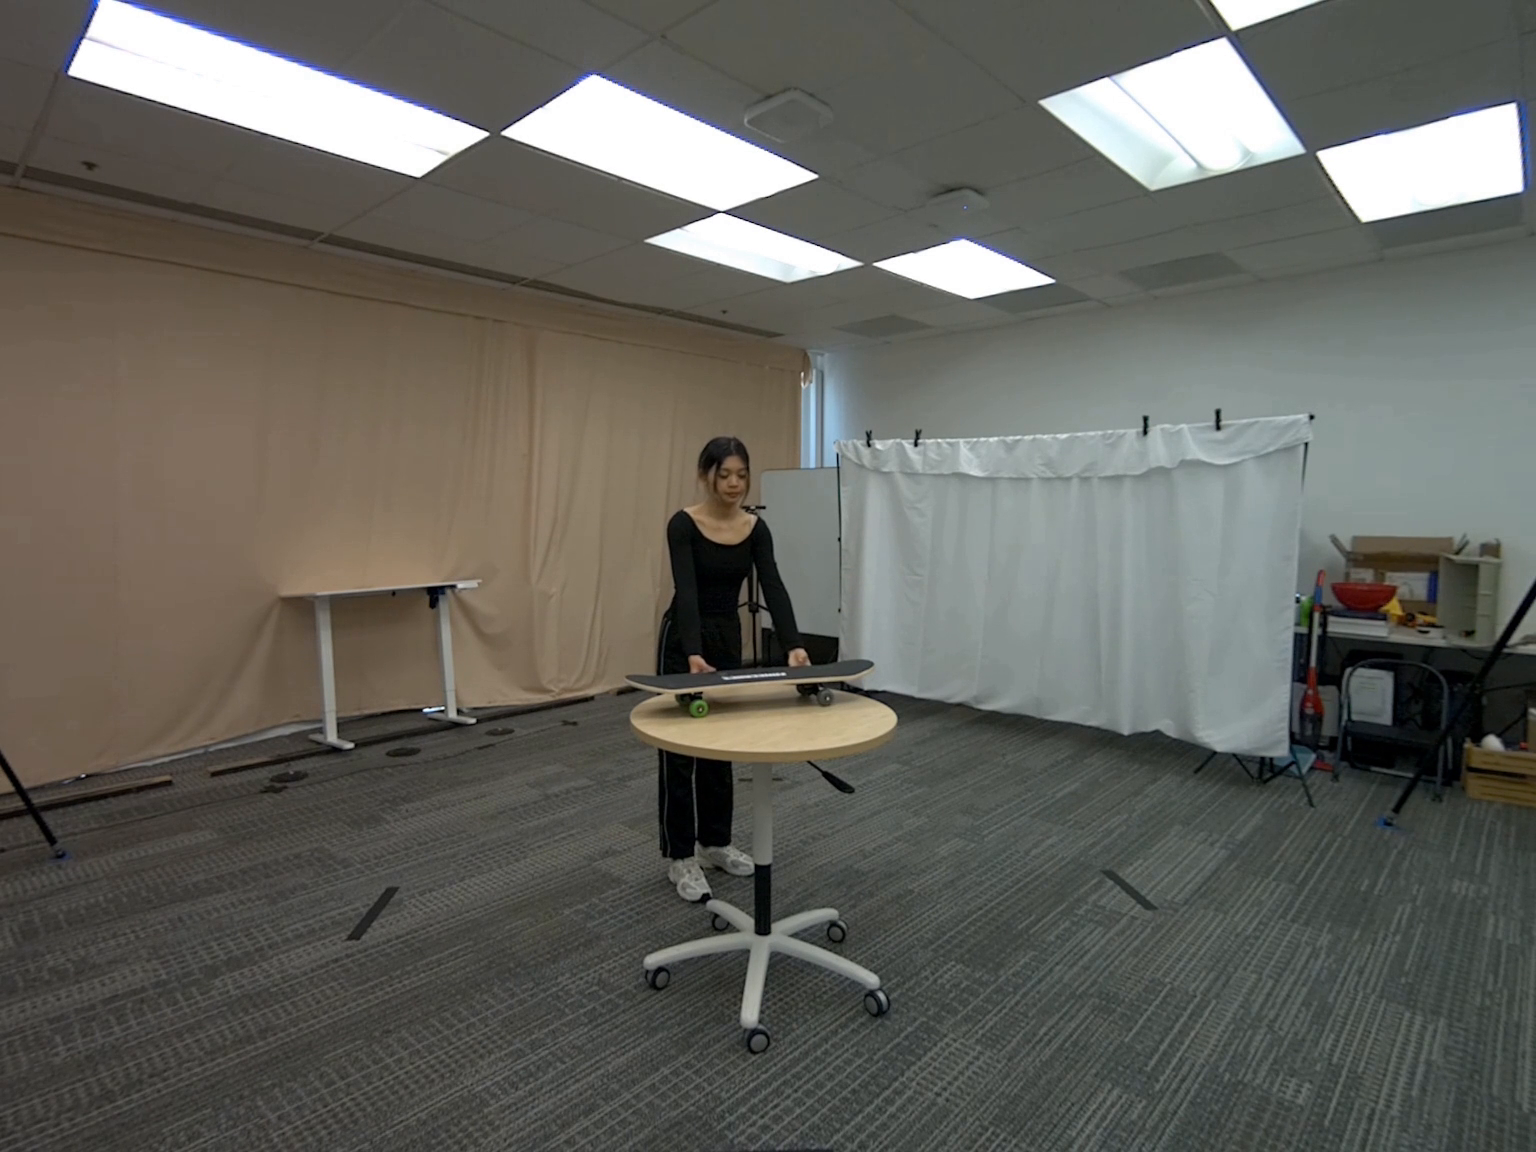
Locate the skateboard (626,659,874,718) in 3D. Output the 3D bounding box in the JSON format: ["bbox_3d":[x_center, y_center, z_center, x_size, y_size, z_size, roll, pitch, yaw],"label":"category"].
[{"bbox_3d":[-0.041,0.336,2.526,0.771,0.110,0.198,-2,6,-18],"label":"skateboard"}]
